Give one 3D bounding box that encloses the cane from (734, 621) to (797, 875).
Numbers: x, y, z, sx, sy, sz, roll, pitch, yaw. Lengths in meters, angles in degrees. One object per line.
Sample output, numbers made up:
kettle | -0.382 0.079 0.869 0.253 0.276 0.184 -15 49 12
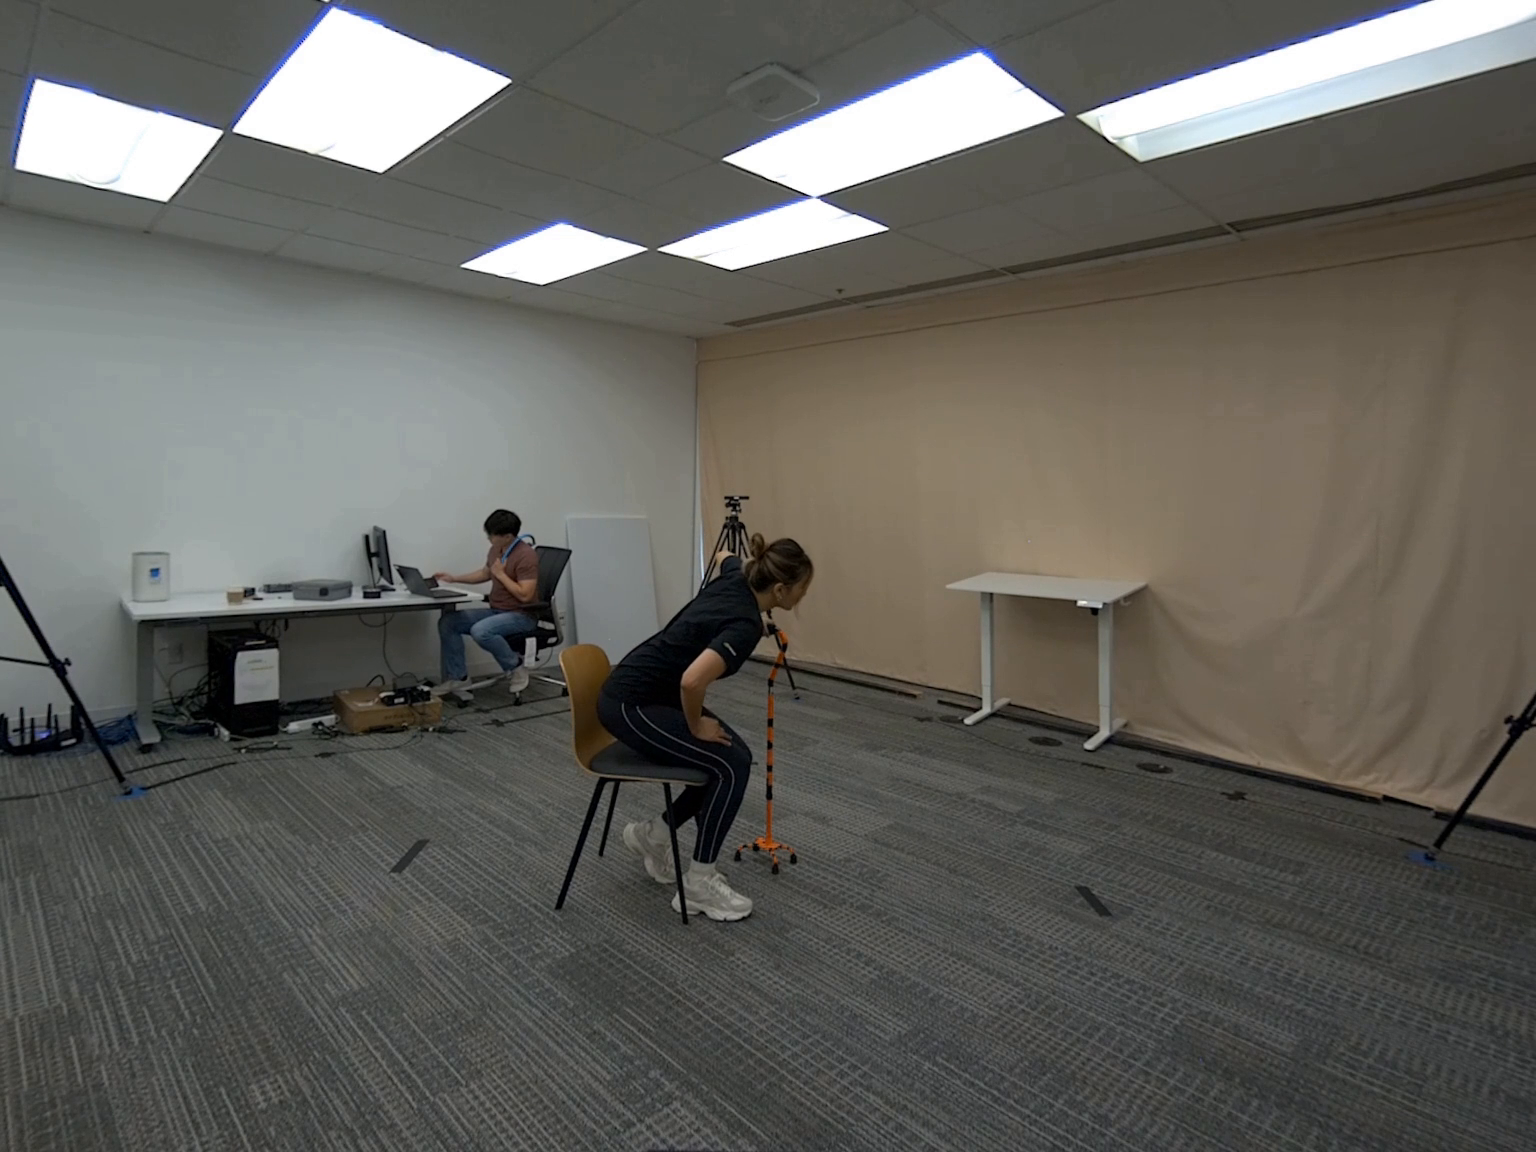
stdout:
cane | -0.008 0.648 3.212 0.211 0.906 0.148 2 3 36
